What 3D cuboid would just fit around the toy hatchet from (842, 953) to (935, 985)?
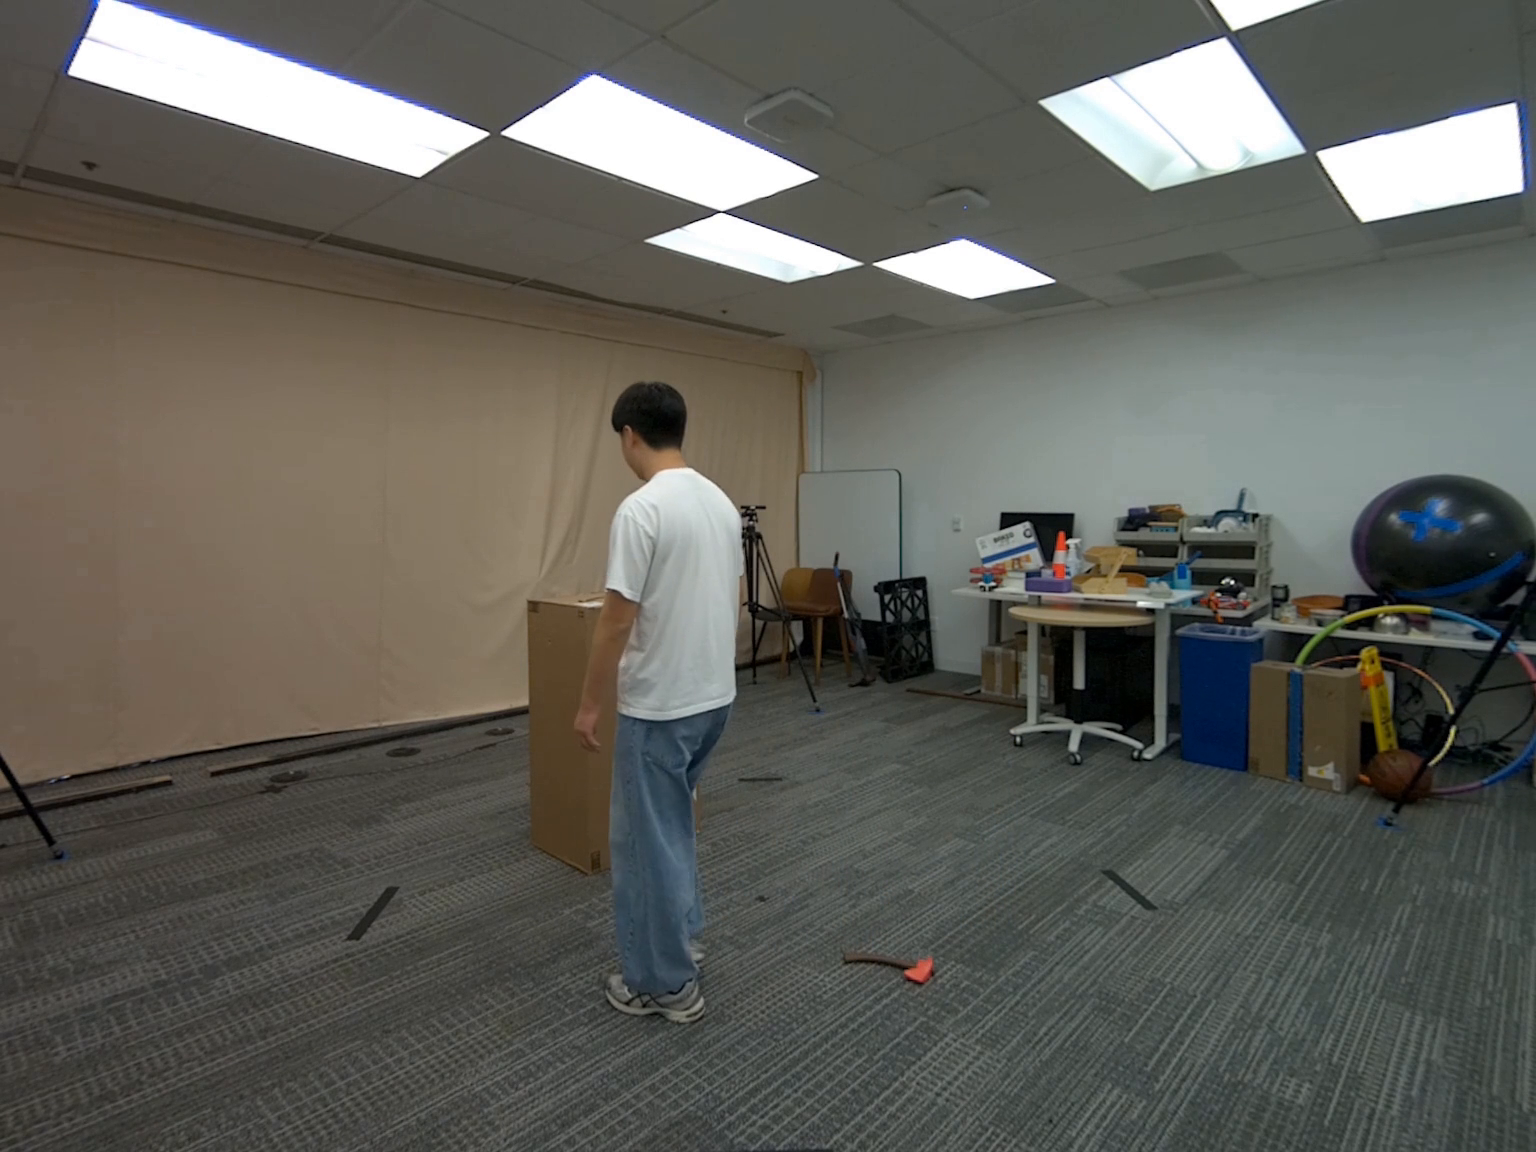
[{"bbox_3d":[0.367,1.173,2.503,0.272,0.029,0.130,-1,6,7],"label":"toy hatchet"}]
